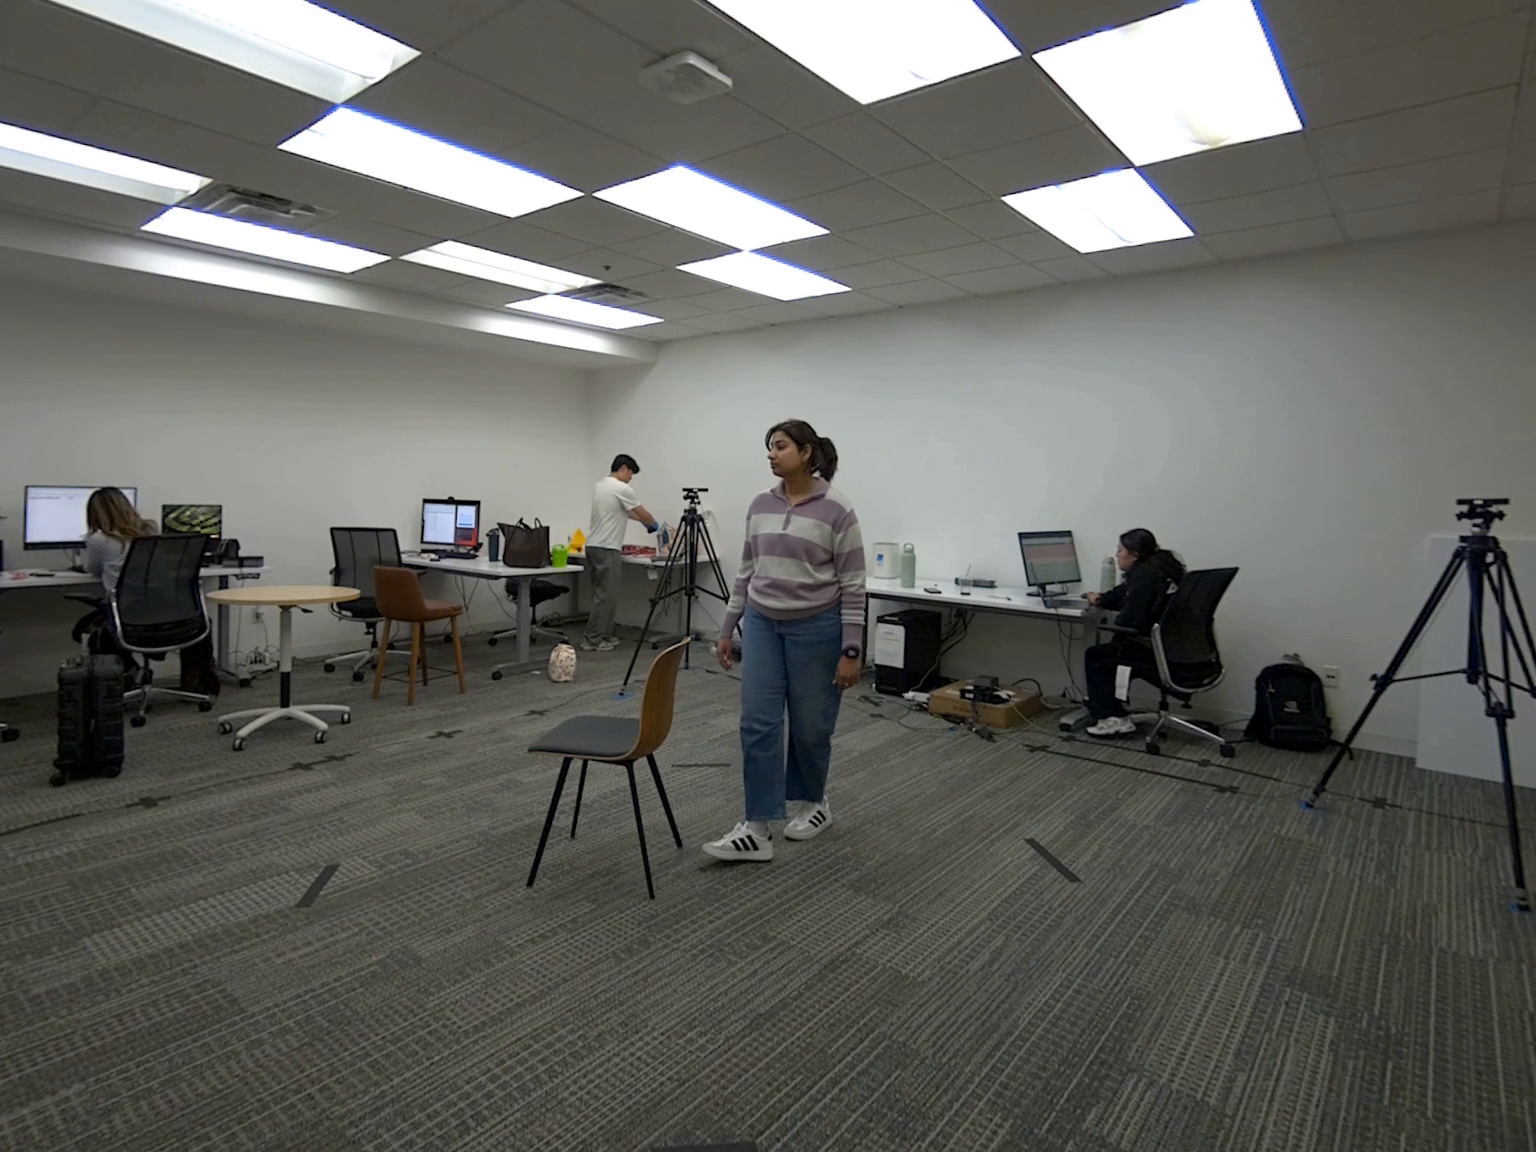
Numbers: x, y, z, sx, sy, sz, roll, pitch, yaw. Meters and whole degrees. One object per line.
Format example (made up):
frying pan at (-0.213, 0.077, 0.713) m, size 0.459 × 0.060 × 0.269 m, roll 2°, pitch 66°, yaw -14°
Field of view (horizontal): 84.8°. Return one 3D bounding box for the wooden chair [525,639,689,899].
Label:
wooden chair at (-0.592, 0.639, 3.100) m, size 0.529 × 0.875 × 0.474 m, roll 5°, pitch 4°, yaw 9°
